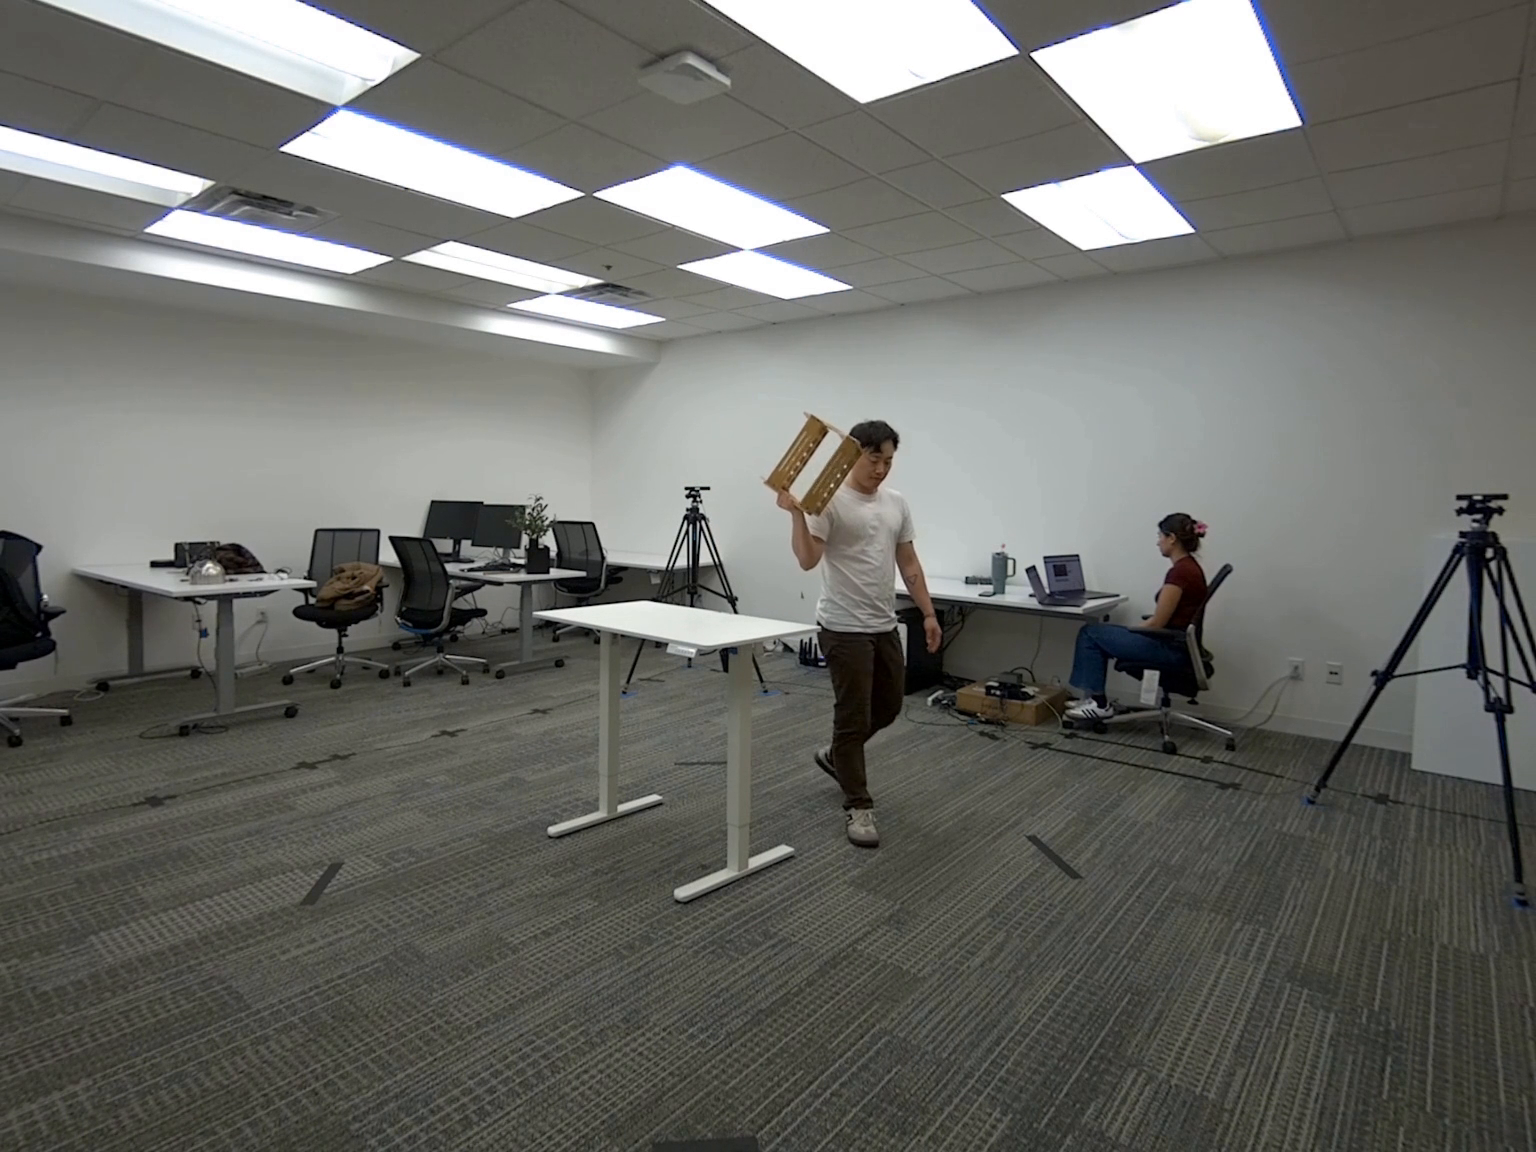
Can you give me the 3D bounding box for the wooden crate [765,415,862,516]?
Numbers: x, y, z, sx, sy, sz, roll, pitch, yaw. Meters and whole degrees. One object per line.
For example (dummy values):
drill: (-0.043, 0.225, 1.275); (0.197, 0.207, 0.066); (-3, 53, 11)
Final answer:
wooden crate: (0.147, -0.427, 3.204); (0.278, 0.324, 0.297); (35, 6, 12)
